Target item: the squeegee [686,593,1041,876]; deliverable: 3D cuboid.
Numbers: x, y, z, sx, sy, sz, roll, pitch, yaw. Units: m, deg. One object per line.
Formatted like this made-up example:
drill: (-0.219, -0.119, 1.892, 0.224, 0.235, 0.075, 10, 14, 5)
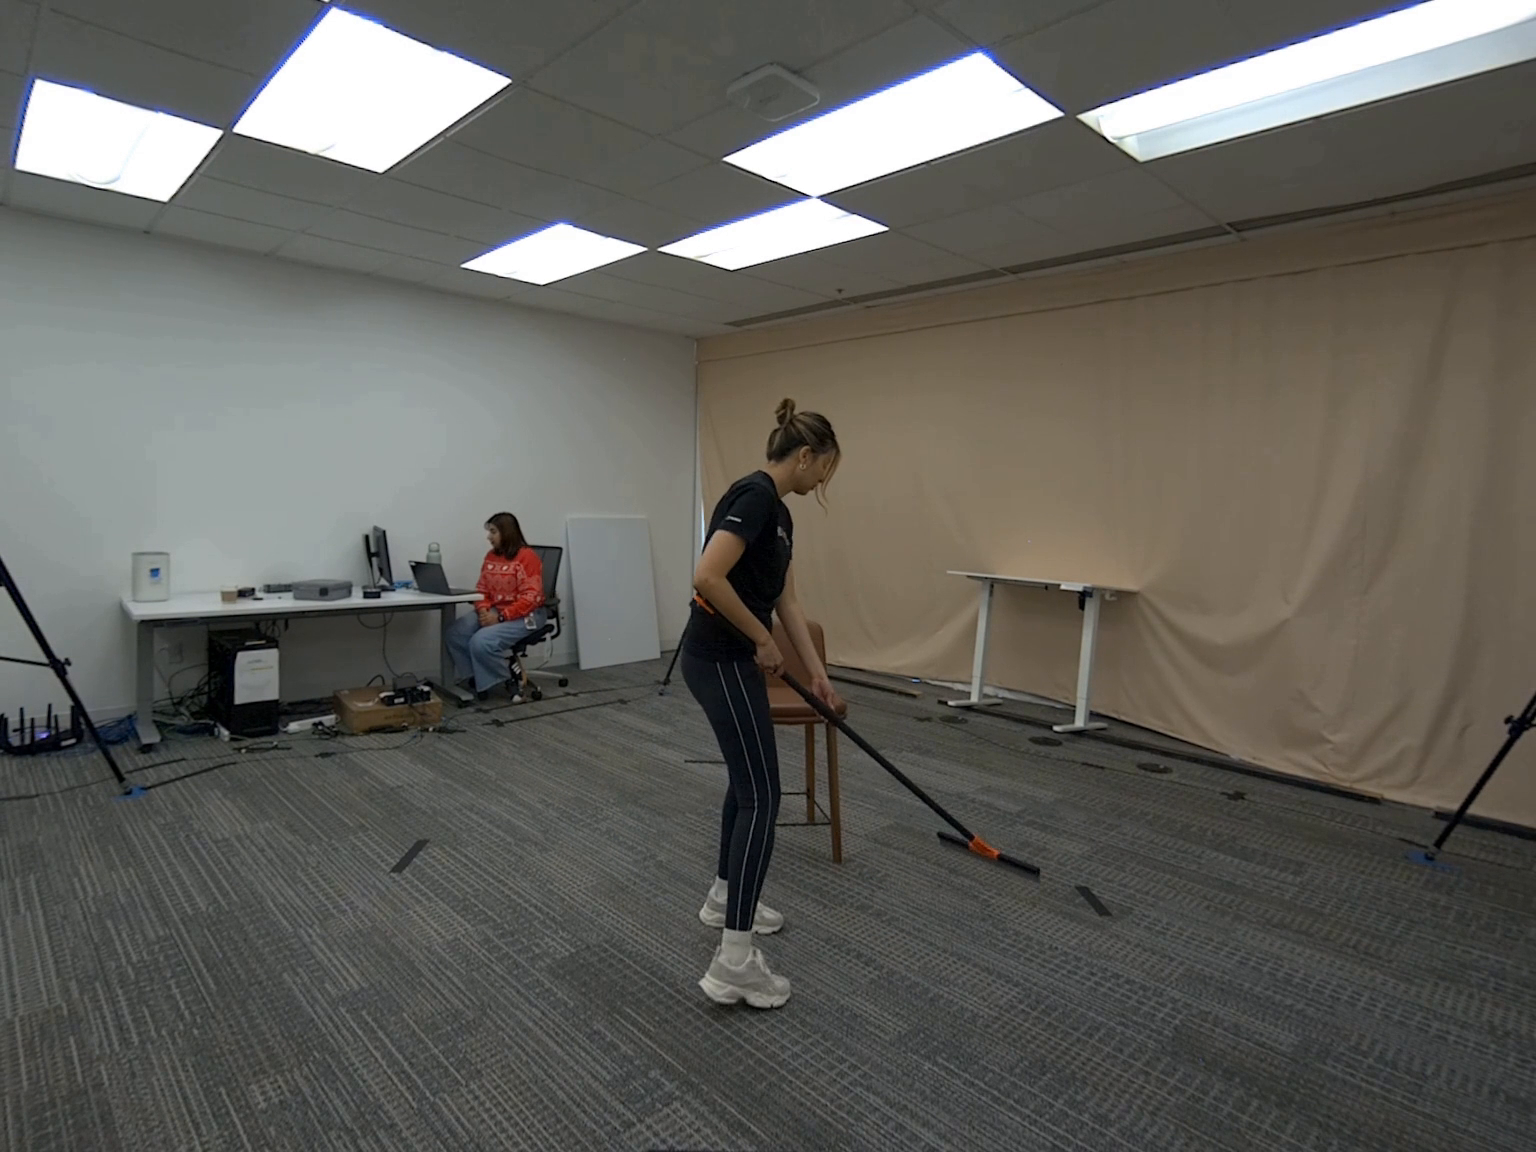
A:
squeegee: (0.296, 0.521, 2.631, 1.498, 0.053, 0.448, 44, -20, -27)
